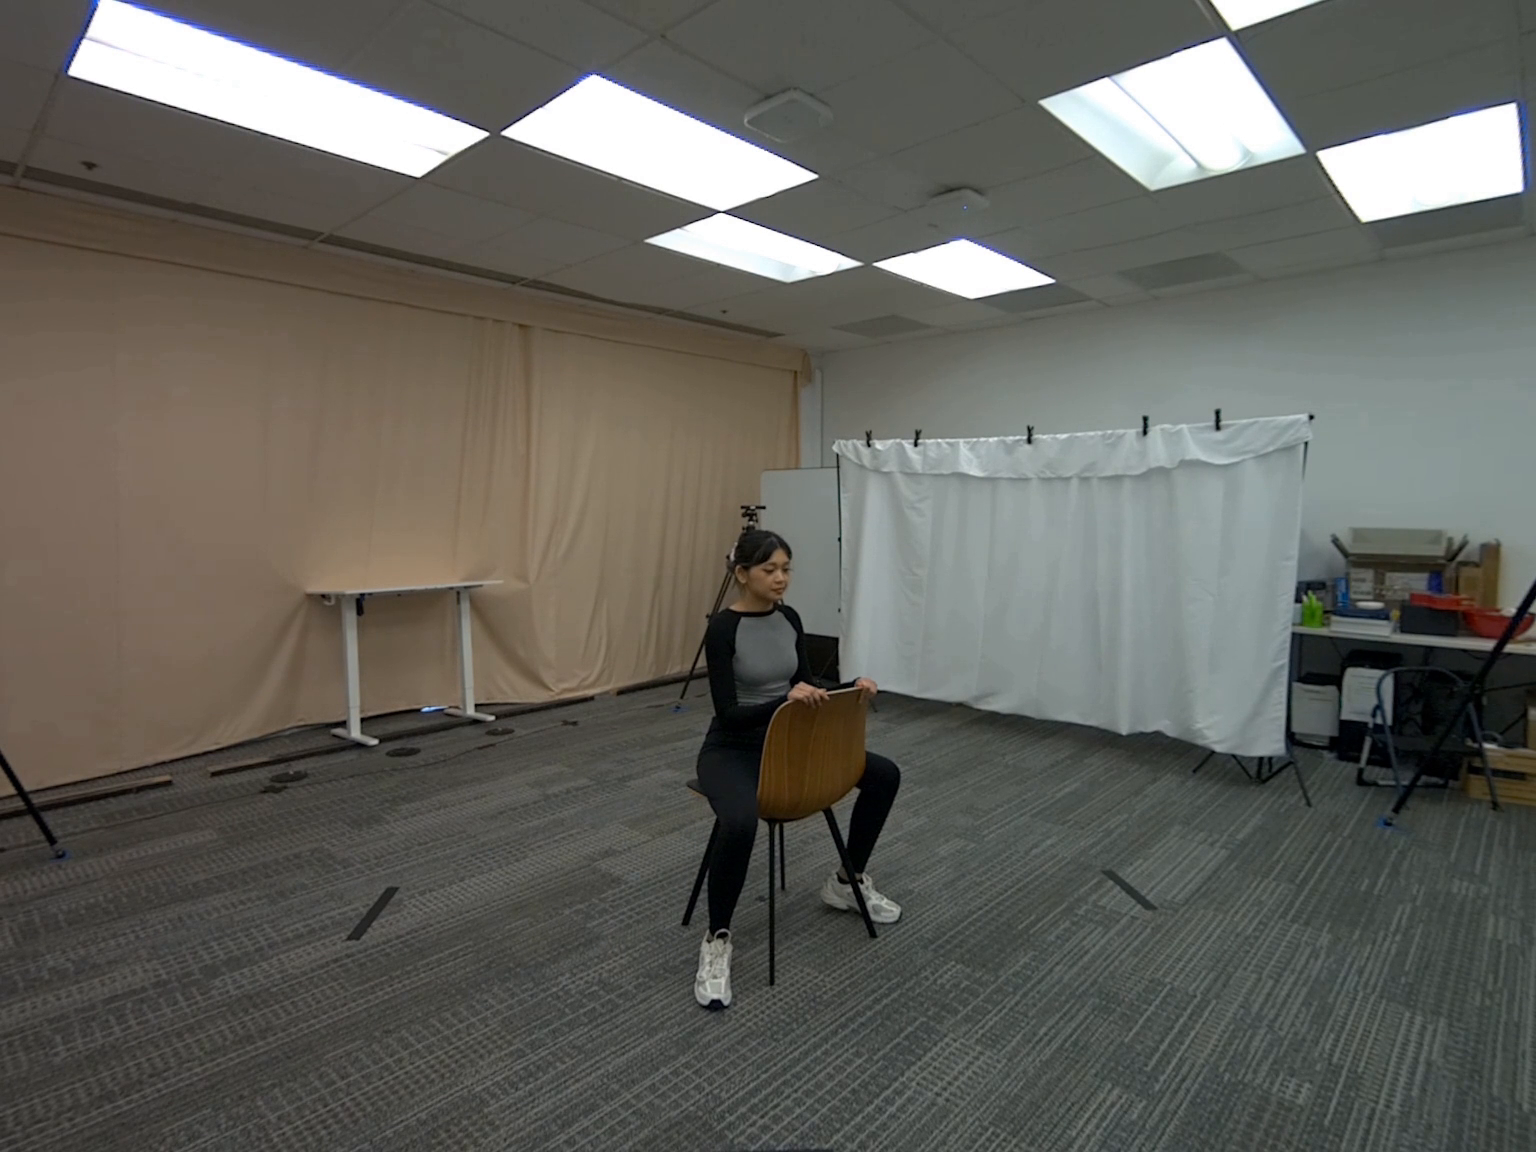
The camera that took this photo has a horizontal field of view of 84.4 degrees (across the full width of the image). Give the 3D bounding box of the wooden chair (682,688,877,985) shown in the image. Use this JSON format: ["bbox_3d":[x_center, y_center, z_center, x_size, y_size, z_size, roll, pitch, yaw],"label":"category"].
[{"bbox_3d":[0.026,0.738,2.735,0.464,0.874,0.541,-2,9,-39],"label":"wooden chair"}]
